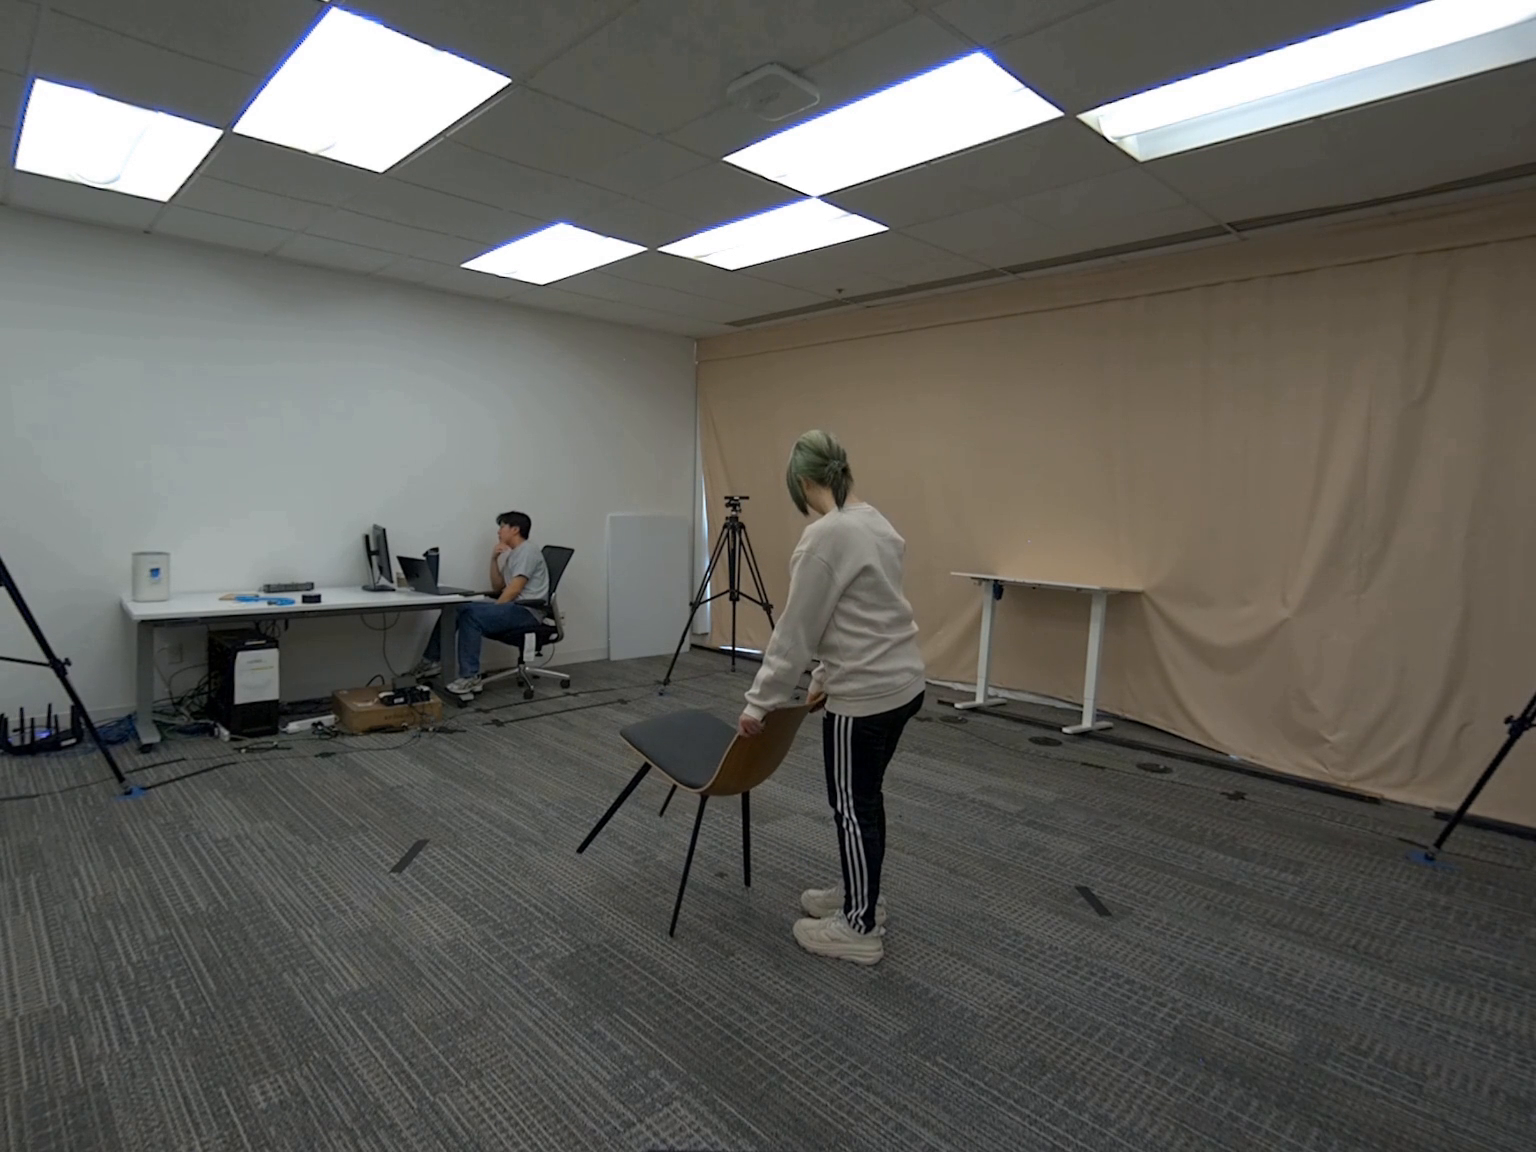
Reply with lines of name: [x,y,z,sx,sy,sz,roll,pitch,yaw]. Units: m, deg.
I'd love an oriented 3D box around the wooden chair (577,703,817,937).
wooden chair: [-0.228,0.642,2.841,0.537,0.872,0.468,34,20,28]
